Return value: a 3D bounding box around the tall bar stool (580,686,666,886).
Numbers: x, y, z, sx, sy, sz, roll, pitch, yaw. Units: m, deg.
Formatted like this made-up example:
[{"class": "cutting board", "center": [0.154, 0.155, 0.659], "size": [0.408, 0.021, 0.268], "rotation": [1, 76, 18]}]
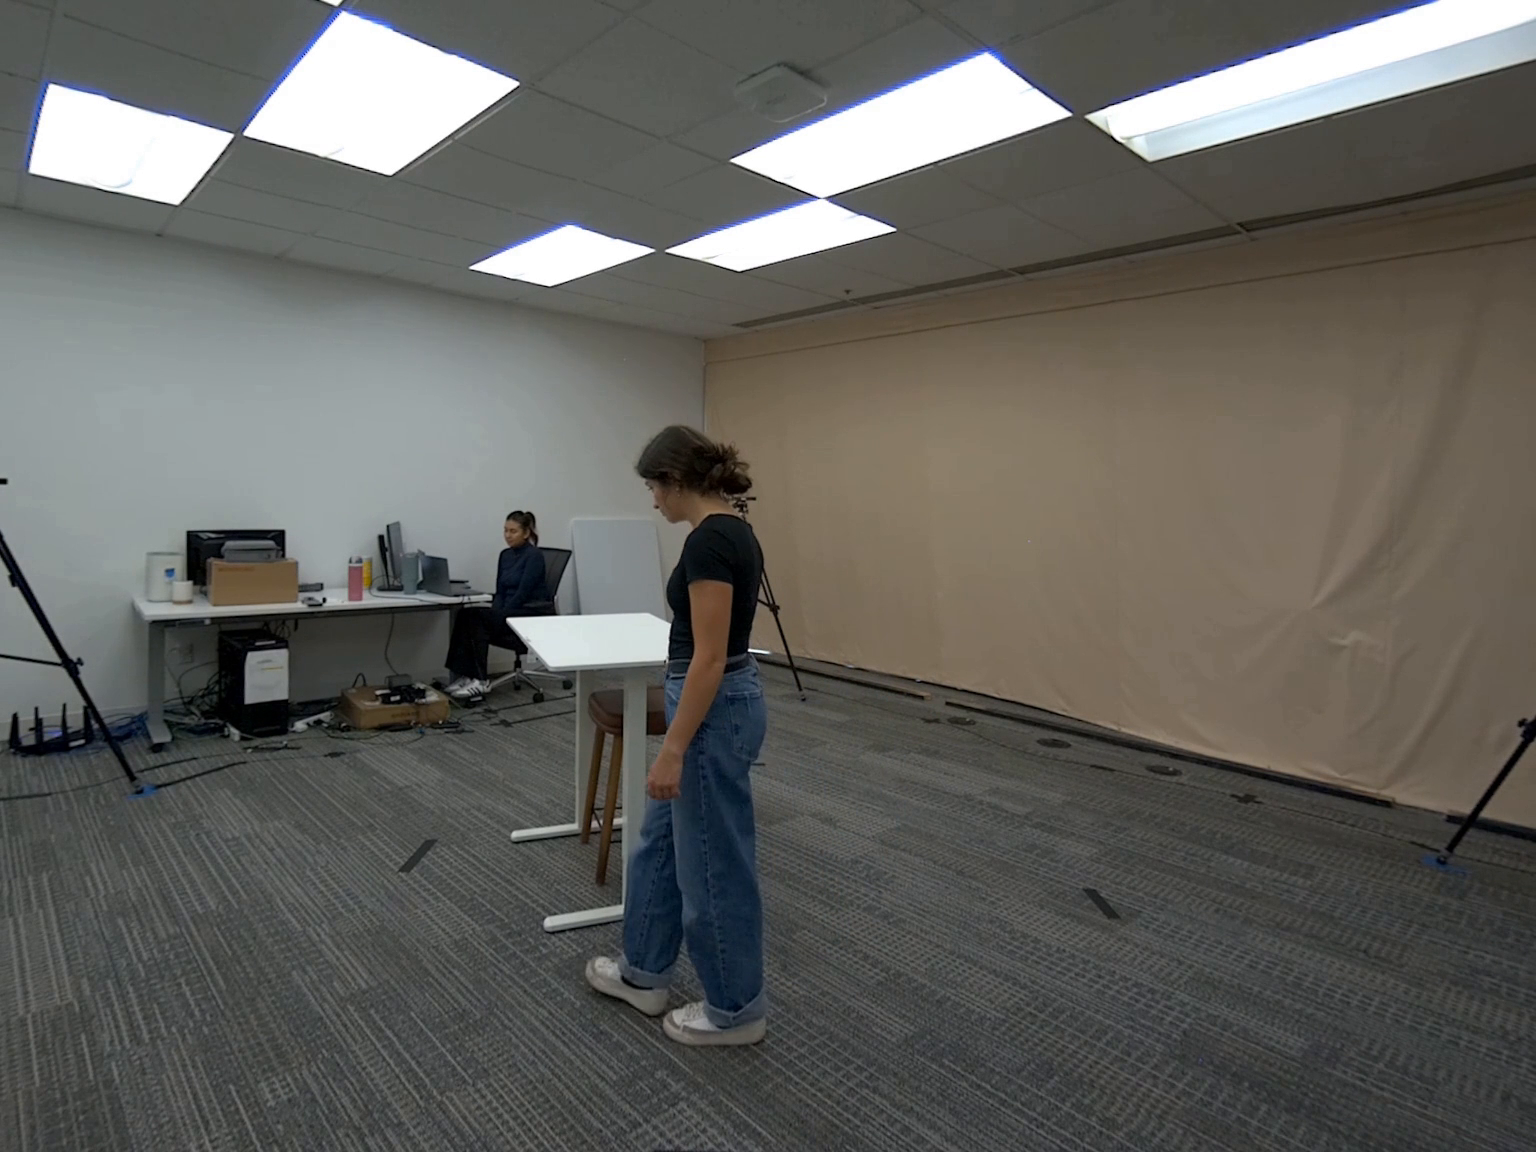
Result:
[{"class": "tall bar stool", "center": [-0.465, 0.660, 3.234], "size": [0.460, 0.888, 0.464], "rotation": [2, 3, -20]}]
